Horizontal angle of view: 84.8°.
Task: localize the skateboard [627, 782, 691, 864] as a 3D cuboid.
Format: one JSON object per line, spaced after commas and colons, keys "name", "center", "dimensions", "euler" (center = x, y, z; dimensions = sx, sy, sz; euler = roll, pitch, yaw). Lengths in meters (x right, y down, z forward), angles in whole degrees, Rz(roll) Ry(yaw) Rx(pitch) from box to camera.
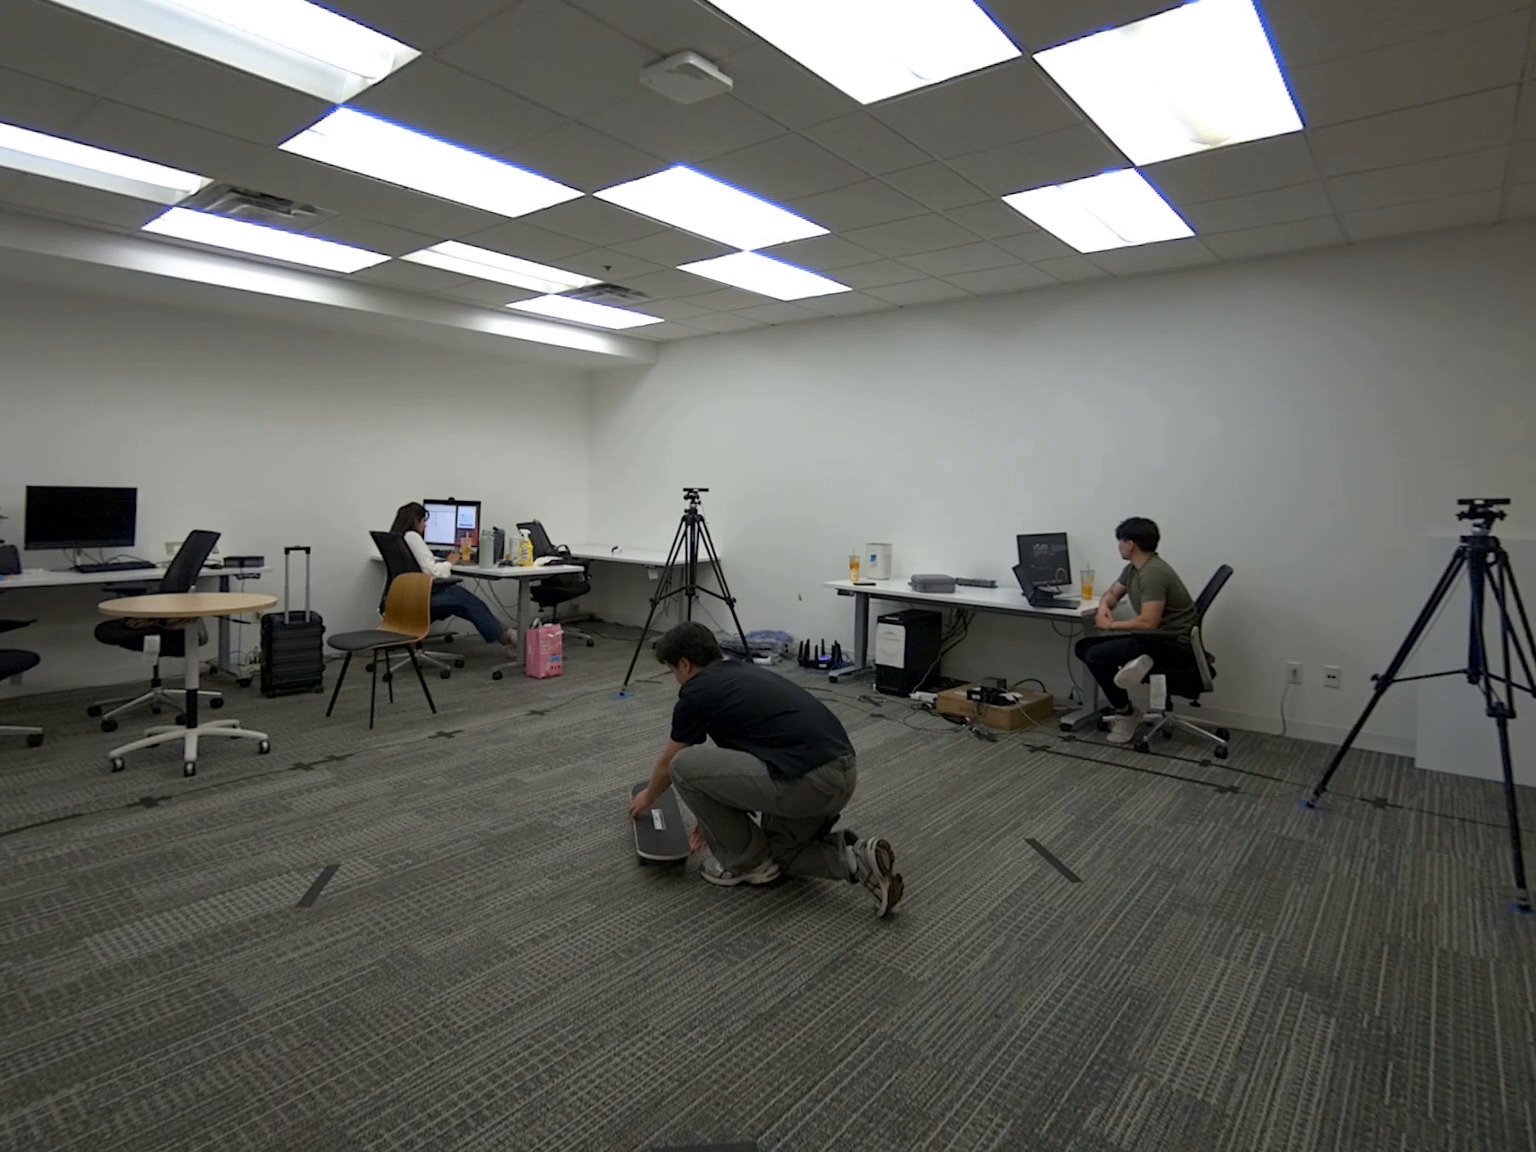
{"name": "skateboard", "center": [-0.445, 0.980, 3.345], "dimensions": [0.191, 0.110, 0.797], "euler": [1, 5, -12]}
